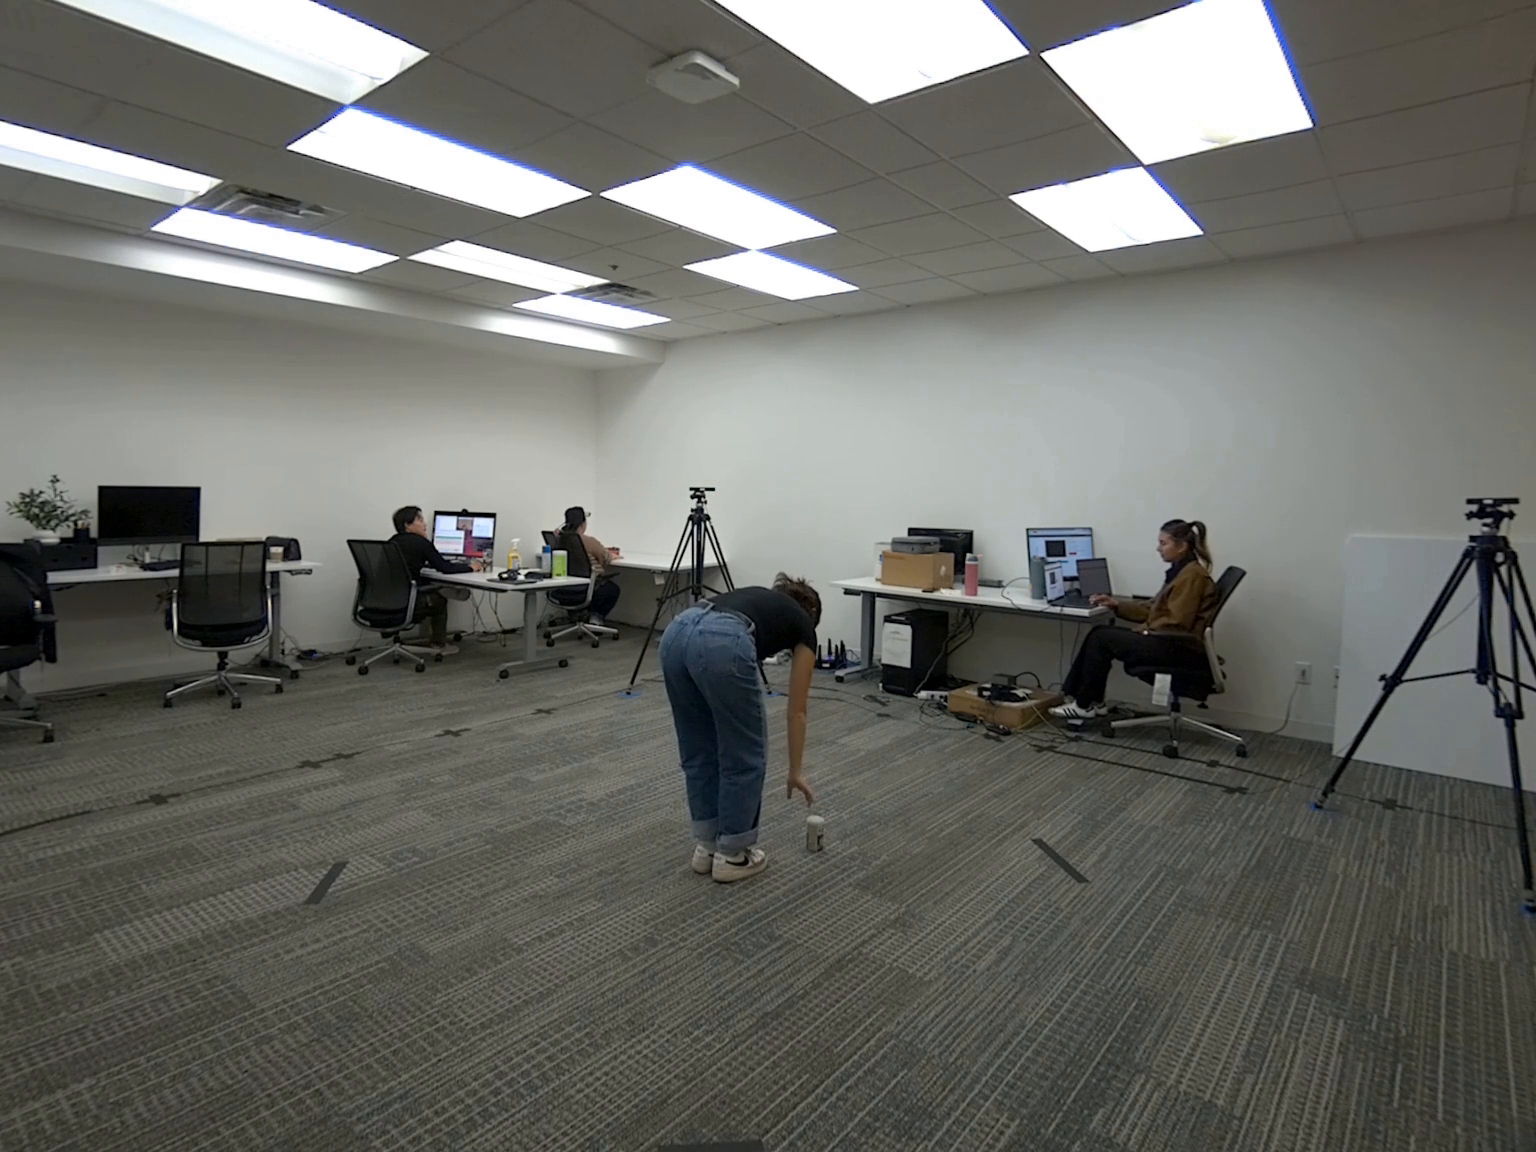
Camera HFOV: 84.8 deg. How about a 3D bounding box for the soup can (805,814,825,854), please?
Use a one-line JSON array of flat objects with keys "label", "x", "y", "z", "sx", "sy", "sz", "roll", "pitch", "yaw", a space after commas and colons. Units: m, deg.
[{"label": "soup can", "x": 0.173, "y": 1.002, "z": 3.293, "sx": 0.067, "sy": 0.121, "sz": 0.067, "roll": 4, "pitch": 5, "yaw": -2}]
